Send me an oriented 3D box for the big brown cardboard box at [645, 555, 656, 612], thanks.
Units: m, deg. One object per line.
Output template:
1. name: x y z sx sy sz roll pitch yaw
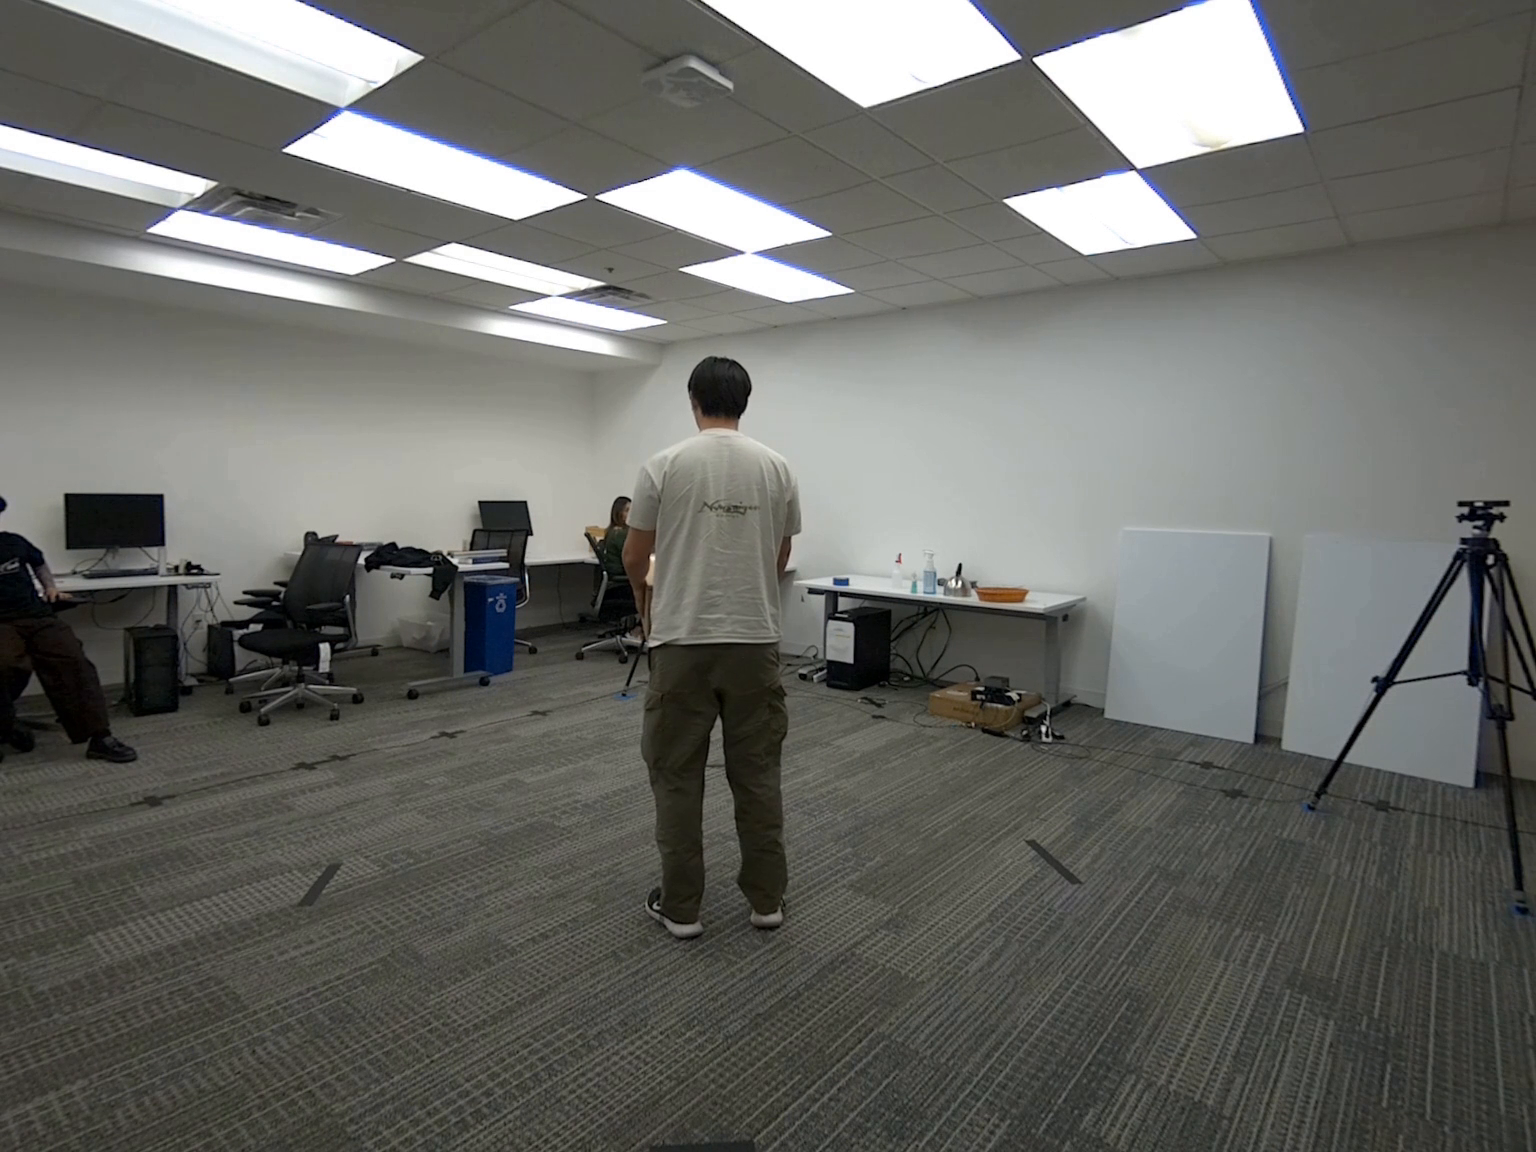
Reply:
1. big brown cardboard box: -0.280 0.065 3.210 0.414 0.231 0.601 -1 12 -10
